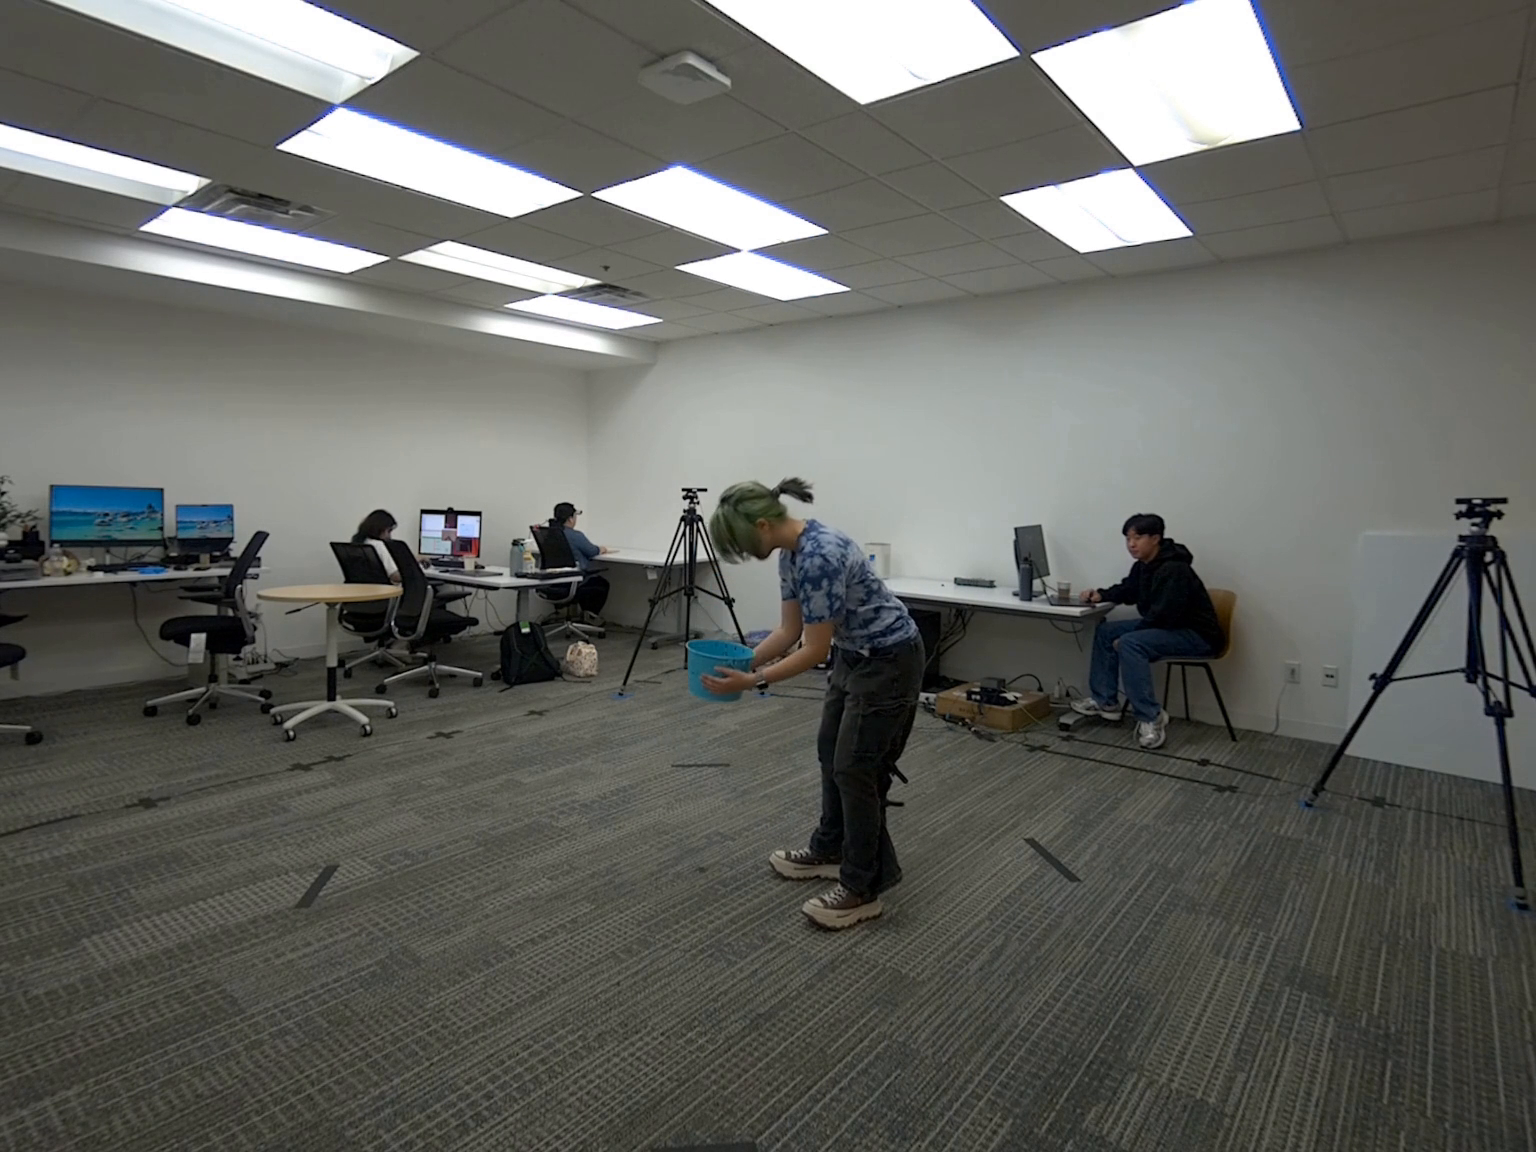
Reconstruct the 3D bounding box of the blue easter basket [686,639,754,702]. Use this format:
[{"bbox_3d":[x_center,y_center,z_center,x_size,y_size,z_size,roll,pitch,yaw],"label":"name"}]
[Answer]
[{"bbox_3d":[-0.171,0.324,2.832,0.243,0.155,0.246,8,8,-3],"label":"blue easter basket"}]
